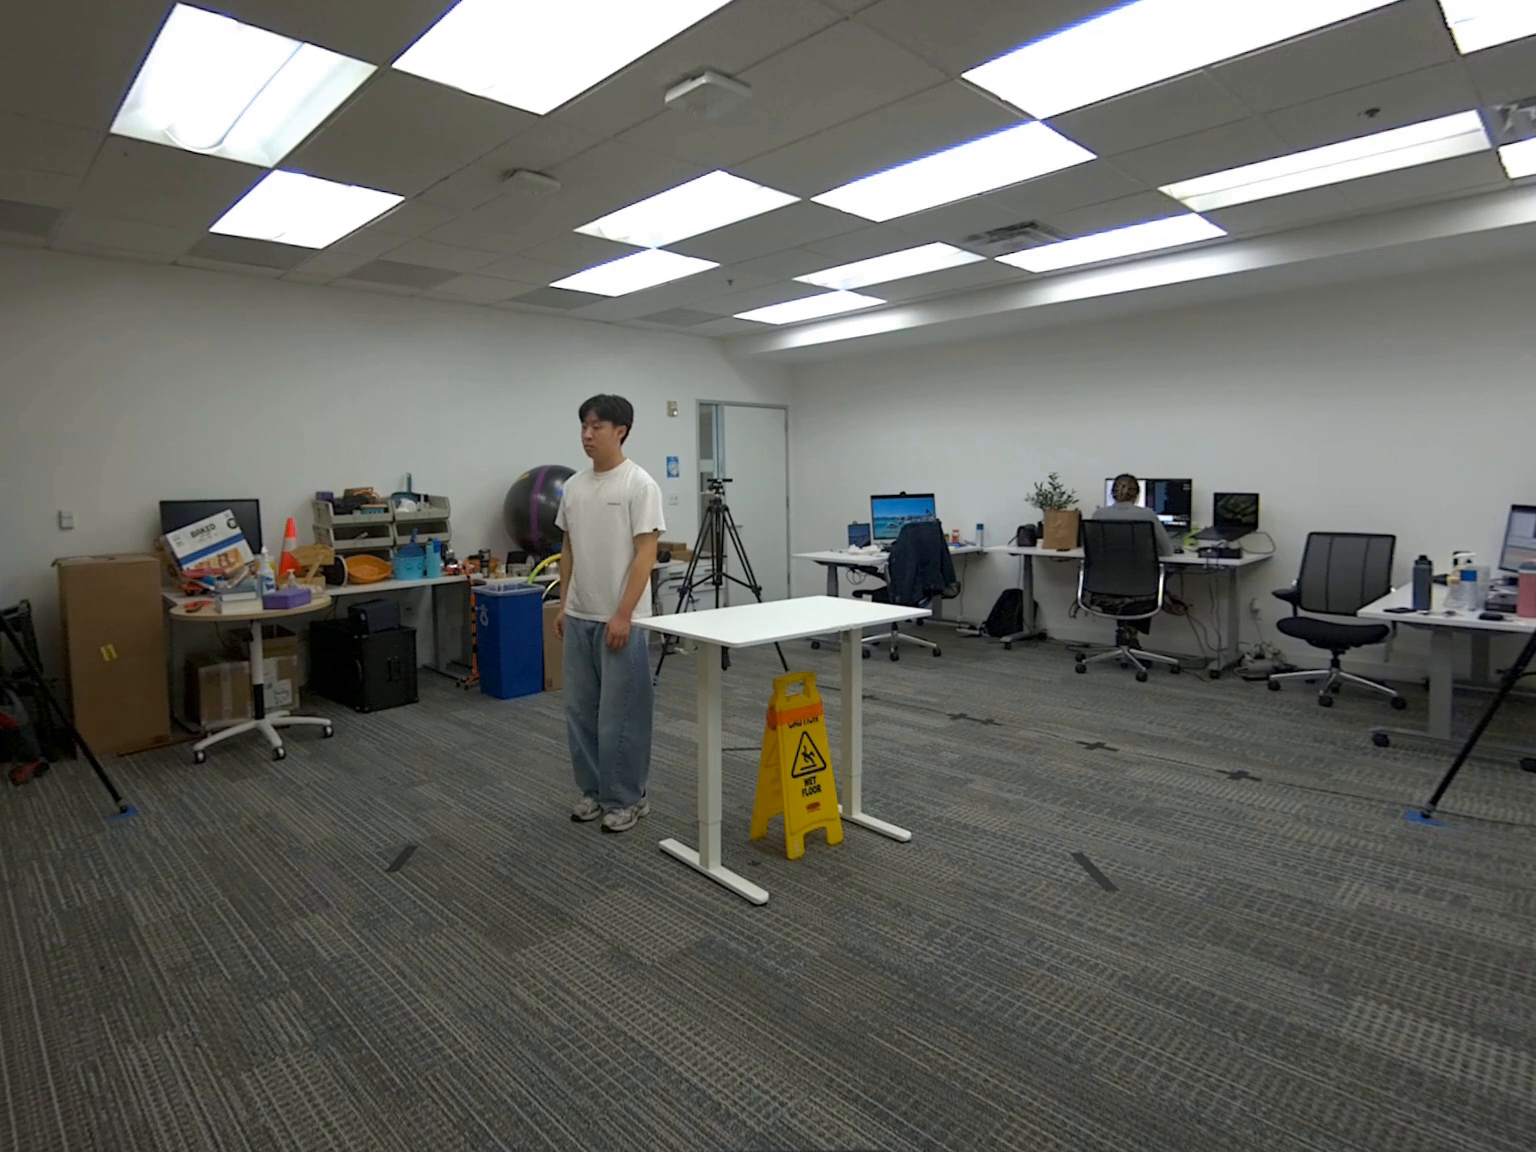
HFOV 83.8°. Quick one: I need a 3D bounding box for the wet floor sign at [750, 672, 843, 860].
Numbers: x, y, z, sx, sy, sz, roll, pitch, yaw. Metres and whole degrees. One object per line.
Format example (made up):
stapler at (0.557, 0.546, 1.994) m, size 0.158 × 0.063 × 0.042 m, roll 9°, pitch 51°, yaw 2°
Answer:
wet floor sign at (0.107, 0.696, 3.281) m, size 0.275 × 0.643 × 0.298 m, roll -4°, pitch 6°, yaw -38°
